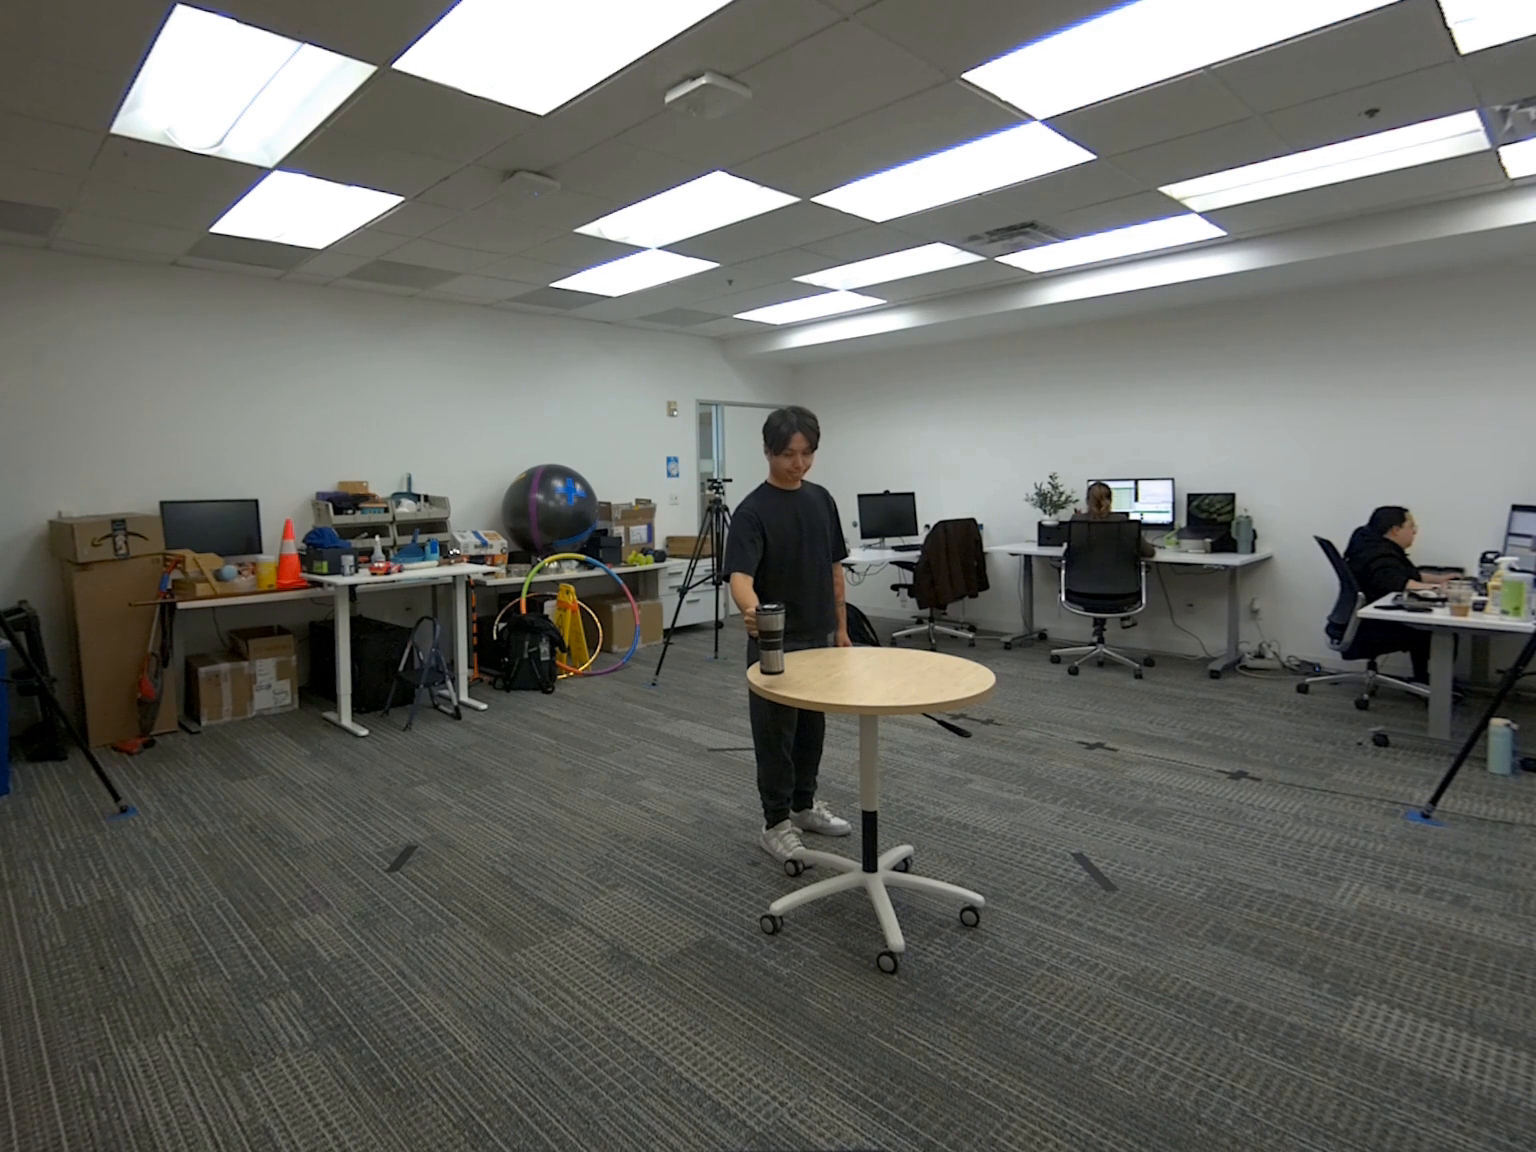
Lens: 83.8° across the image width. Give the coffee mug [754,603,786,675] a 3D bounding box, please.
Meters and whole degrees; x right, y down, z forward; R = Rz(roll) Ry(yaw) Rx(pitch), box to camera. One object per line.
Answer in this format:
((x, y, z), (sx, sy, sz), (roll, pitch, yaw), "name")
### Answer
((0.020, 0.187, 2.540), (0.090, 0.202, 0.119), (-4, 5, 39), "coffee mug")
